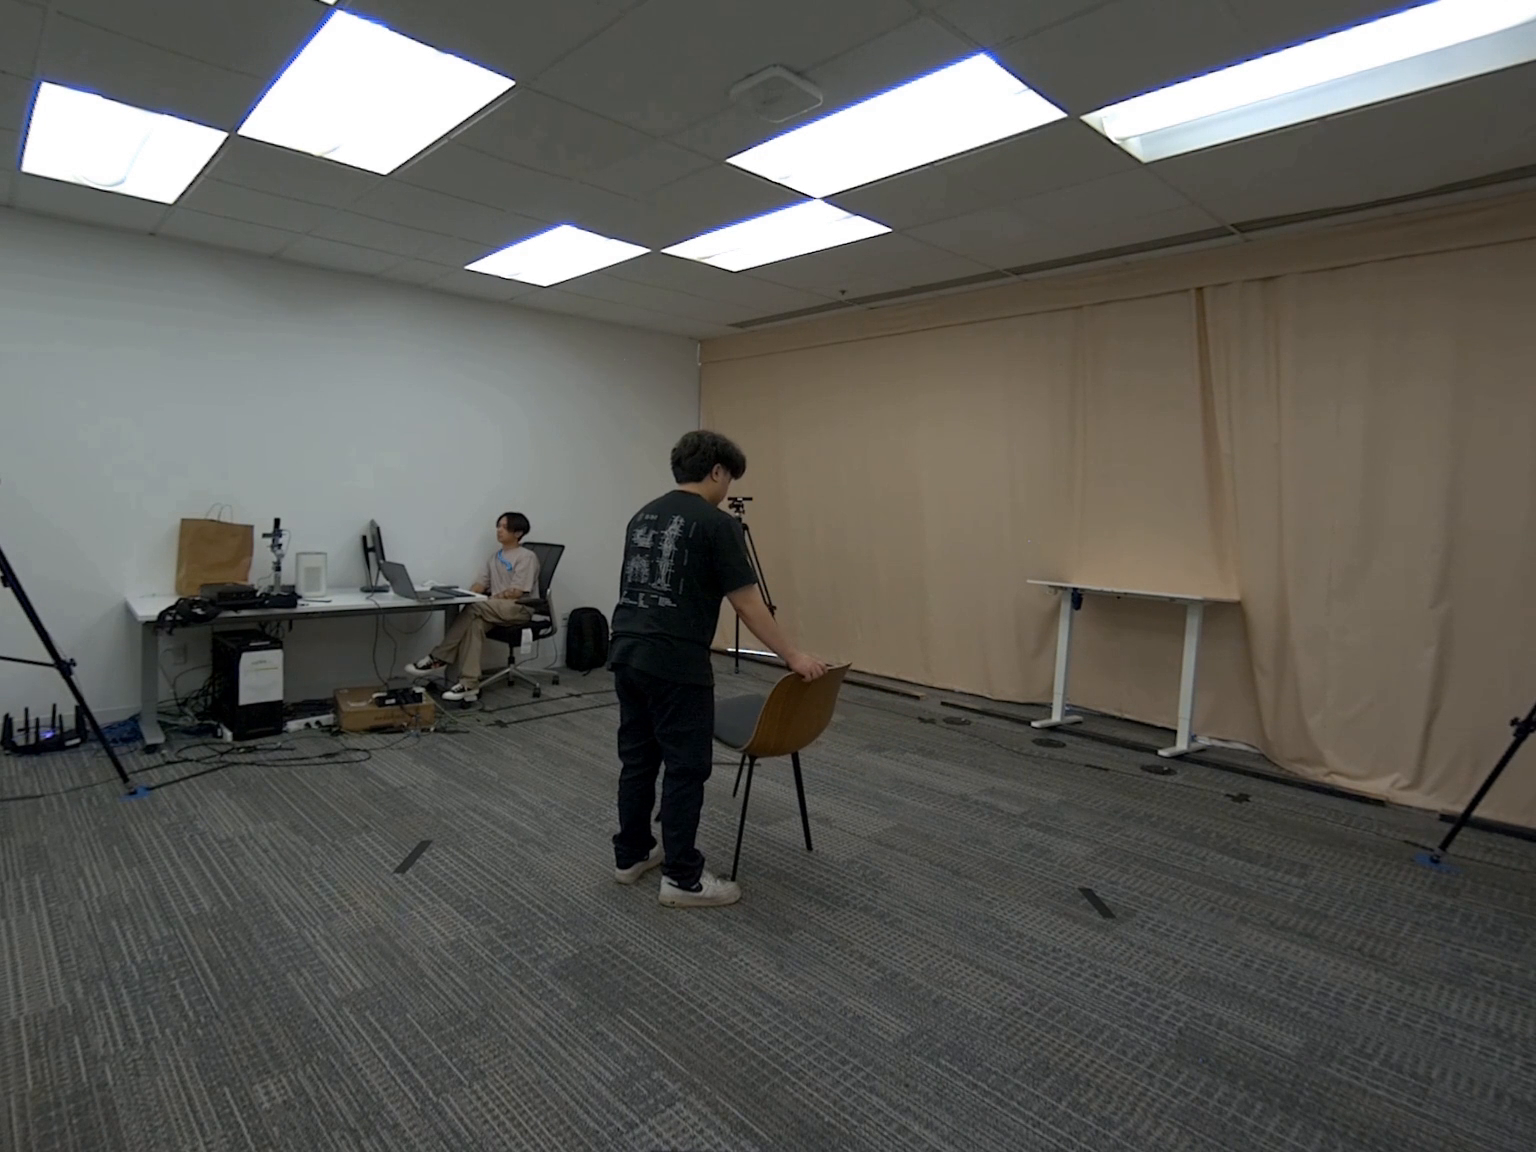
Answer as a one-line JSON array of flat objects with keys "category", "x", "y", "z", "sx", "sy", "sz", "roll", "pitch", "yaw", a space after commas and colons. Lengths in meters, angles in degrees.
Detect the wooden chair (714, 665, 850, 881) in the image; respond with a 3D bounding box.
[{"category": "wooden chair", "x": -0.061, "y": 0.625, "z": 3.255, "sx": 0.467, "sy": 0.870, "sz": 0.539, "roll": -2, "pitch": 24, "yaw": -46}]
